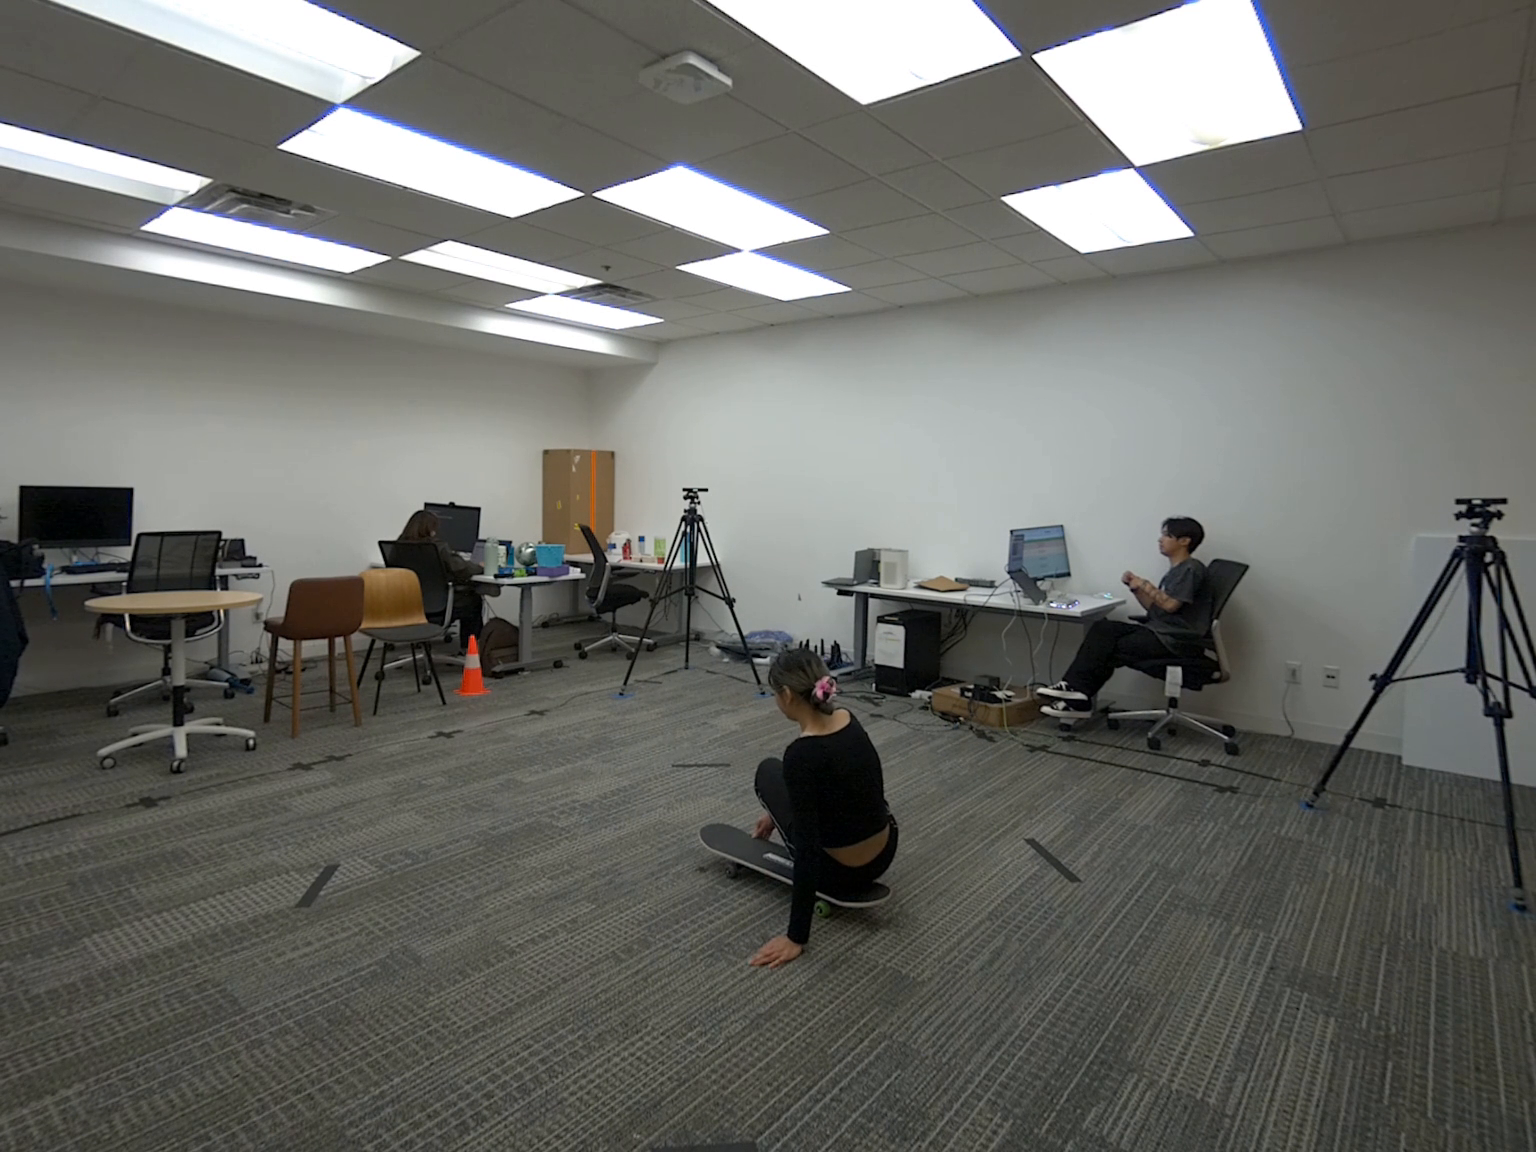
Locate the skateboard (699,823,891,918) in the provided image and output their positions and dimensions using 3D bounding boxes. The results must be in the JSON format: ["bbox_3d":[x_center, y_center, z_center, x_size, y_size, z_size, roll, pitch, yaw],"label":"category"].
[{"bbox_3d":[0.065,1.030,2.973,0.812,0.109,0.188,6,10,39],"label":"skateboard"}]
